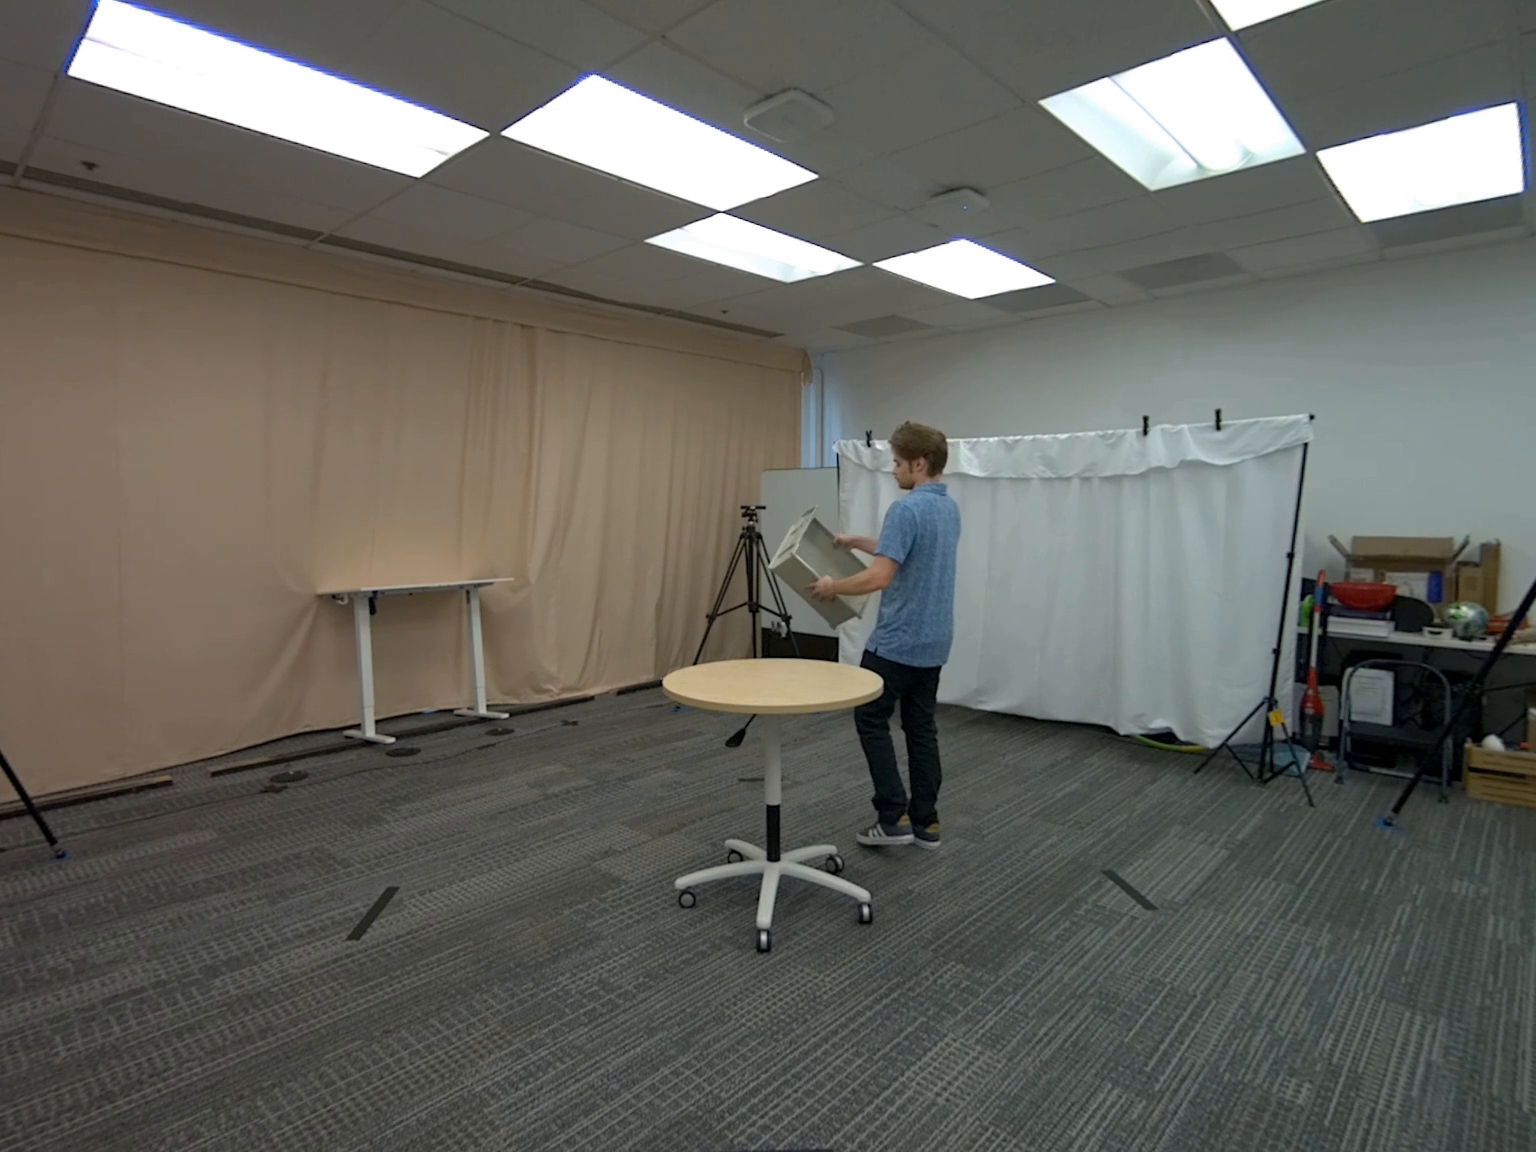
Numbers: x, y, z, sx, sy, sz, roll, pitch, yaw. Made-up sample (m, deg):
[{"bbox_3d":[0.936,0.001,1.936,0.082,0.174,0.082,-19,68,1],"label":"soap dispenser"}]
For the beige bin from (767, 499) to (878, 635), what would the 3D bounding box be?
[{"bbox_3d":[0.270,-0.045,3.709,0.191,0.417,0.377,-38,15,44],"label":"beige bin"}]
